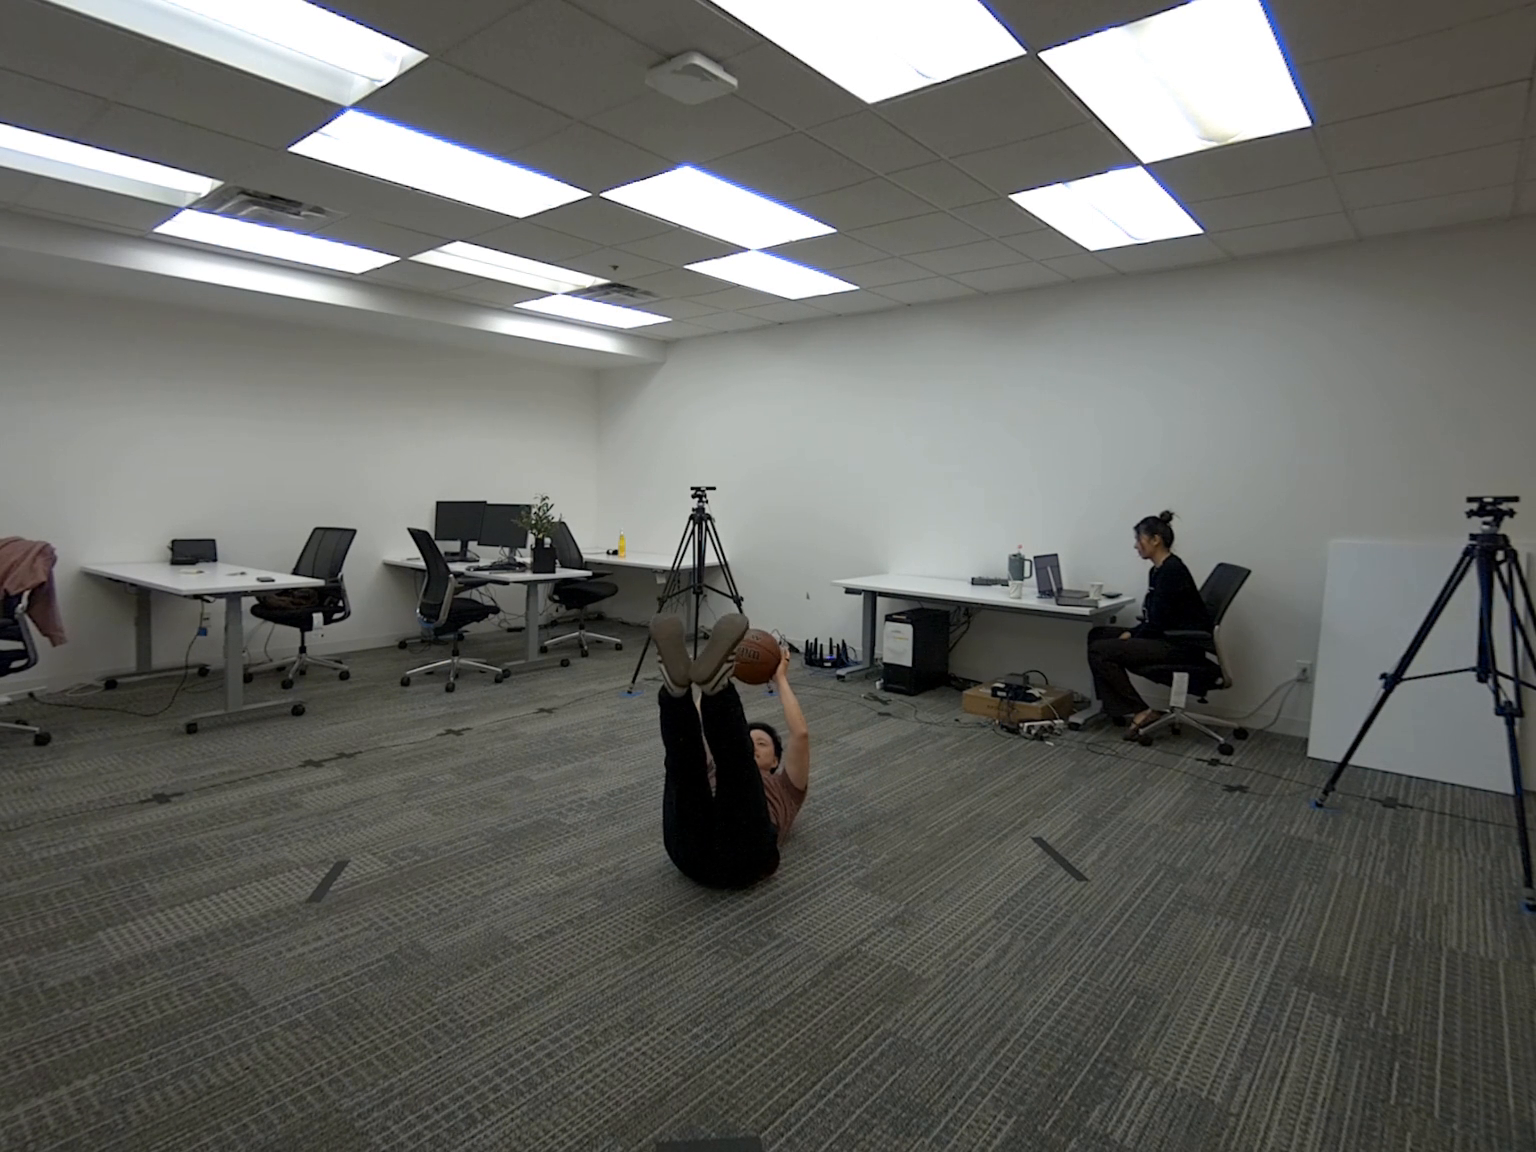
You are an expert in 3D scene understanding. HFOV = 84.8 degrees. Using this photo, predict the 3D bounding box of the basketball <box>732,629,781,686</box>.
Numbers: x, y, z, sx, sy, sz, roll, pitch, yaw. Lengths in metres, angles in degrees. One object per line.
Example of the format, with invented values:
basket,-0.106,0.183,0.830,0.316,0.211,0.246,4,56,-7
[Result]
basketball,-0.063,0.347,3.618,0.236,0.235,0.237,-3,3,-2
